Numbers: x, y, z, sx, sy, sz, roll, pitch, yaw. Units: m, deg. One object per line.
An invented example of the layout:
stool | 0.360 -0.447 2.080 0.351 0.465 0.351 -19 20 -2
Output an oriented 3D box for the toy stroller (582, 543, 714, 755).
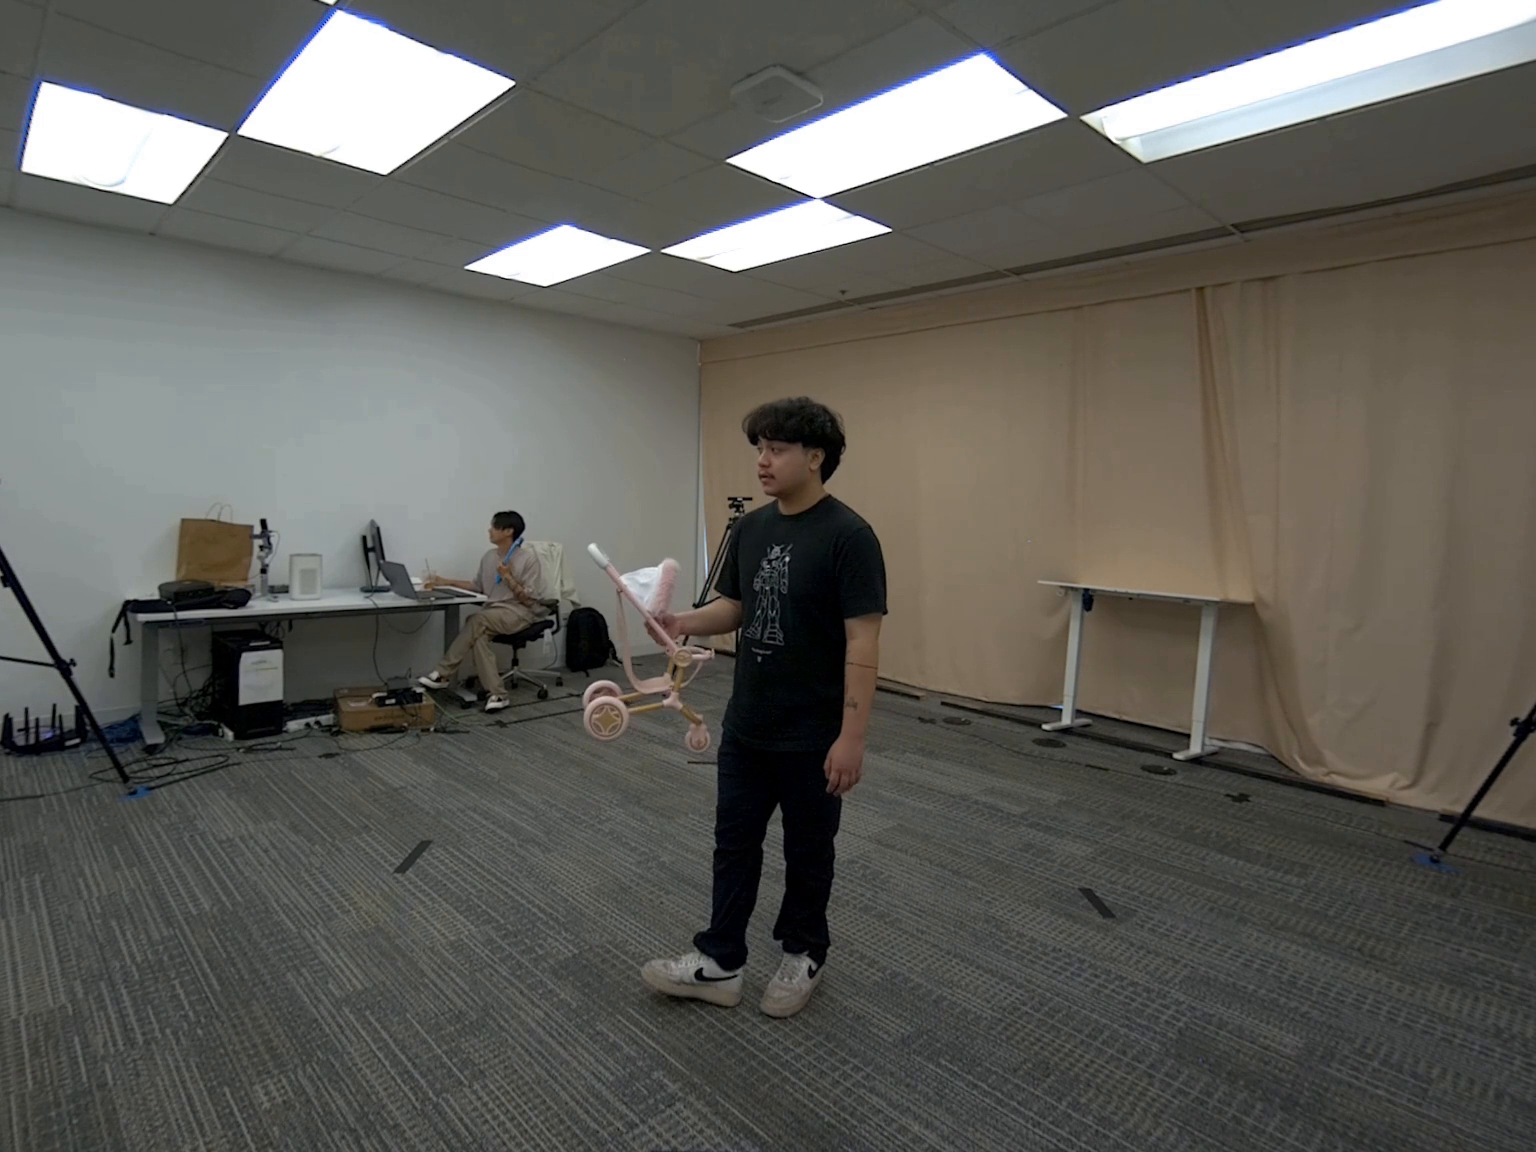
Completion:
toy stroller | -0.309 0.196 2.173 0.340 0.535 0.282 2 -1 -6
